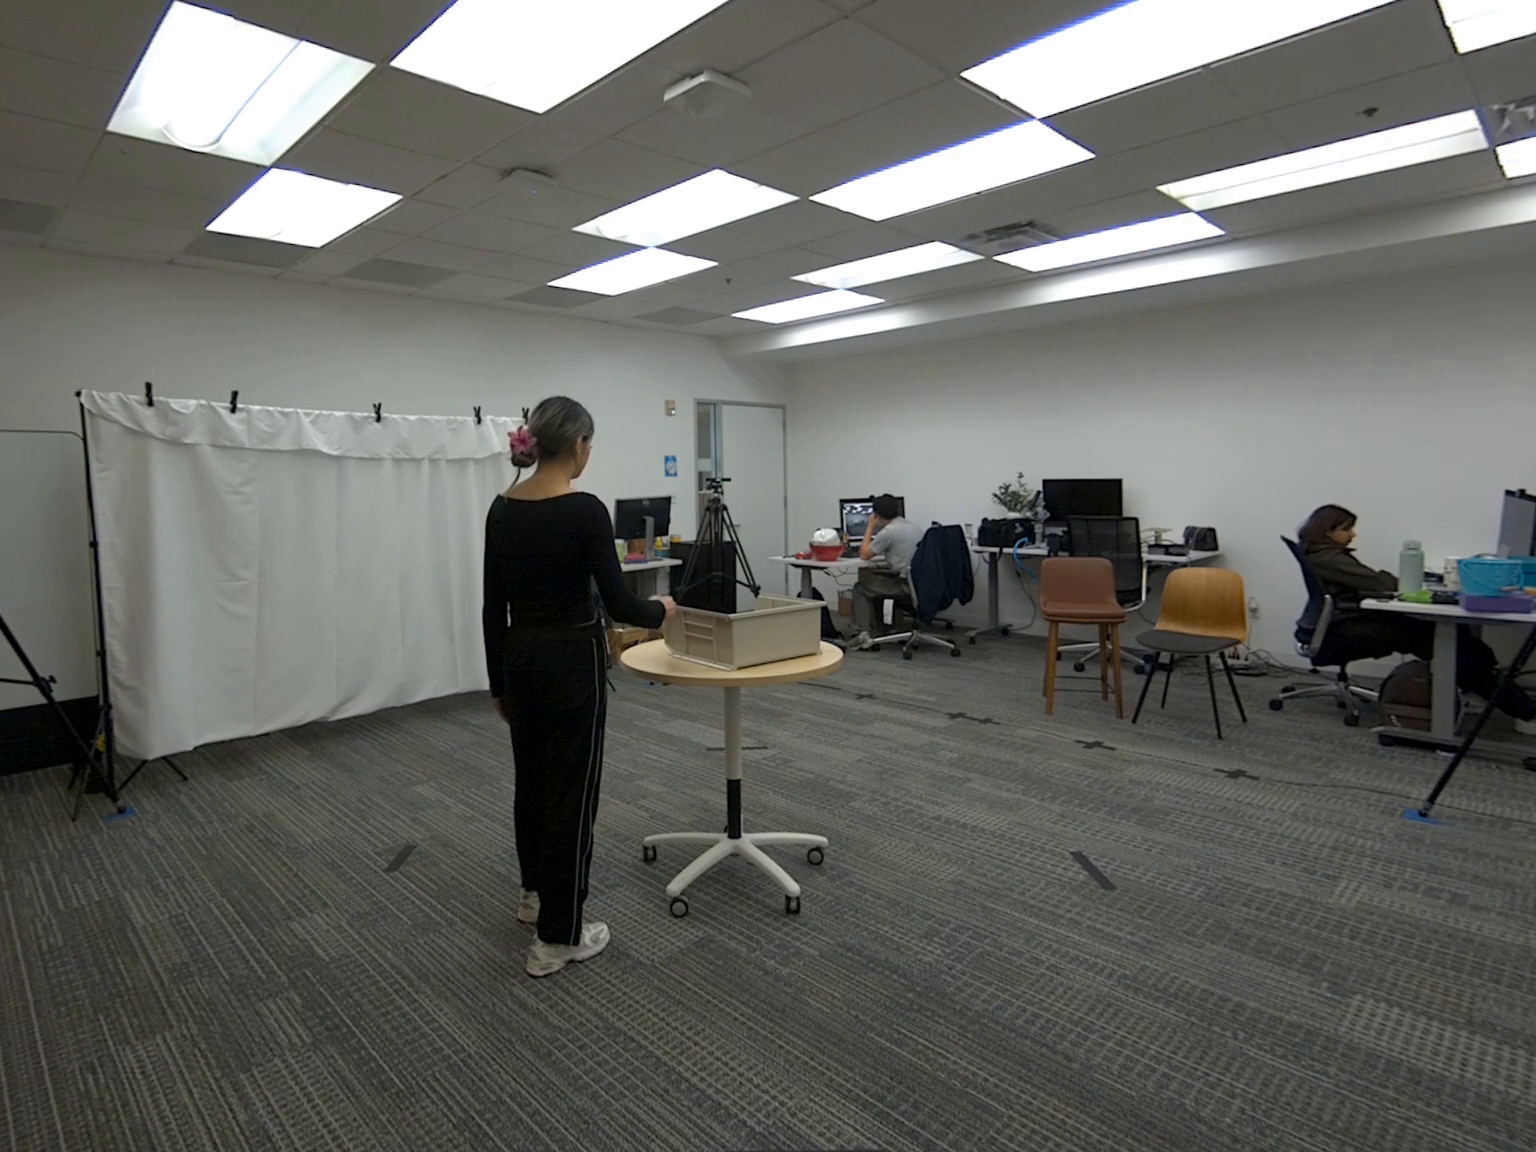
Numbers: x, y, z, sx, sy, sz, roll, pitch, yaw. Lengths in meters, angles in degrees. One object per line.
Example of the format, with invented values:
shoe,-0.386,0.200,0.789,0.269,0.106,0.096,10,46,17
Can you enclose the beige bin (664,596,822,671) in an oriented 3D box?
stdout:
beige bin,-0.084,0.182,2.920,0.411,0.188,0.389,-5,8,-39
